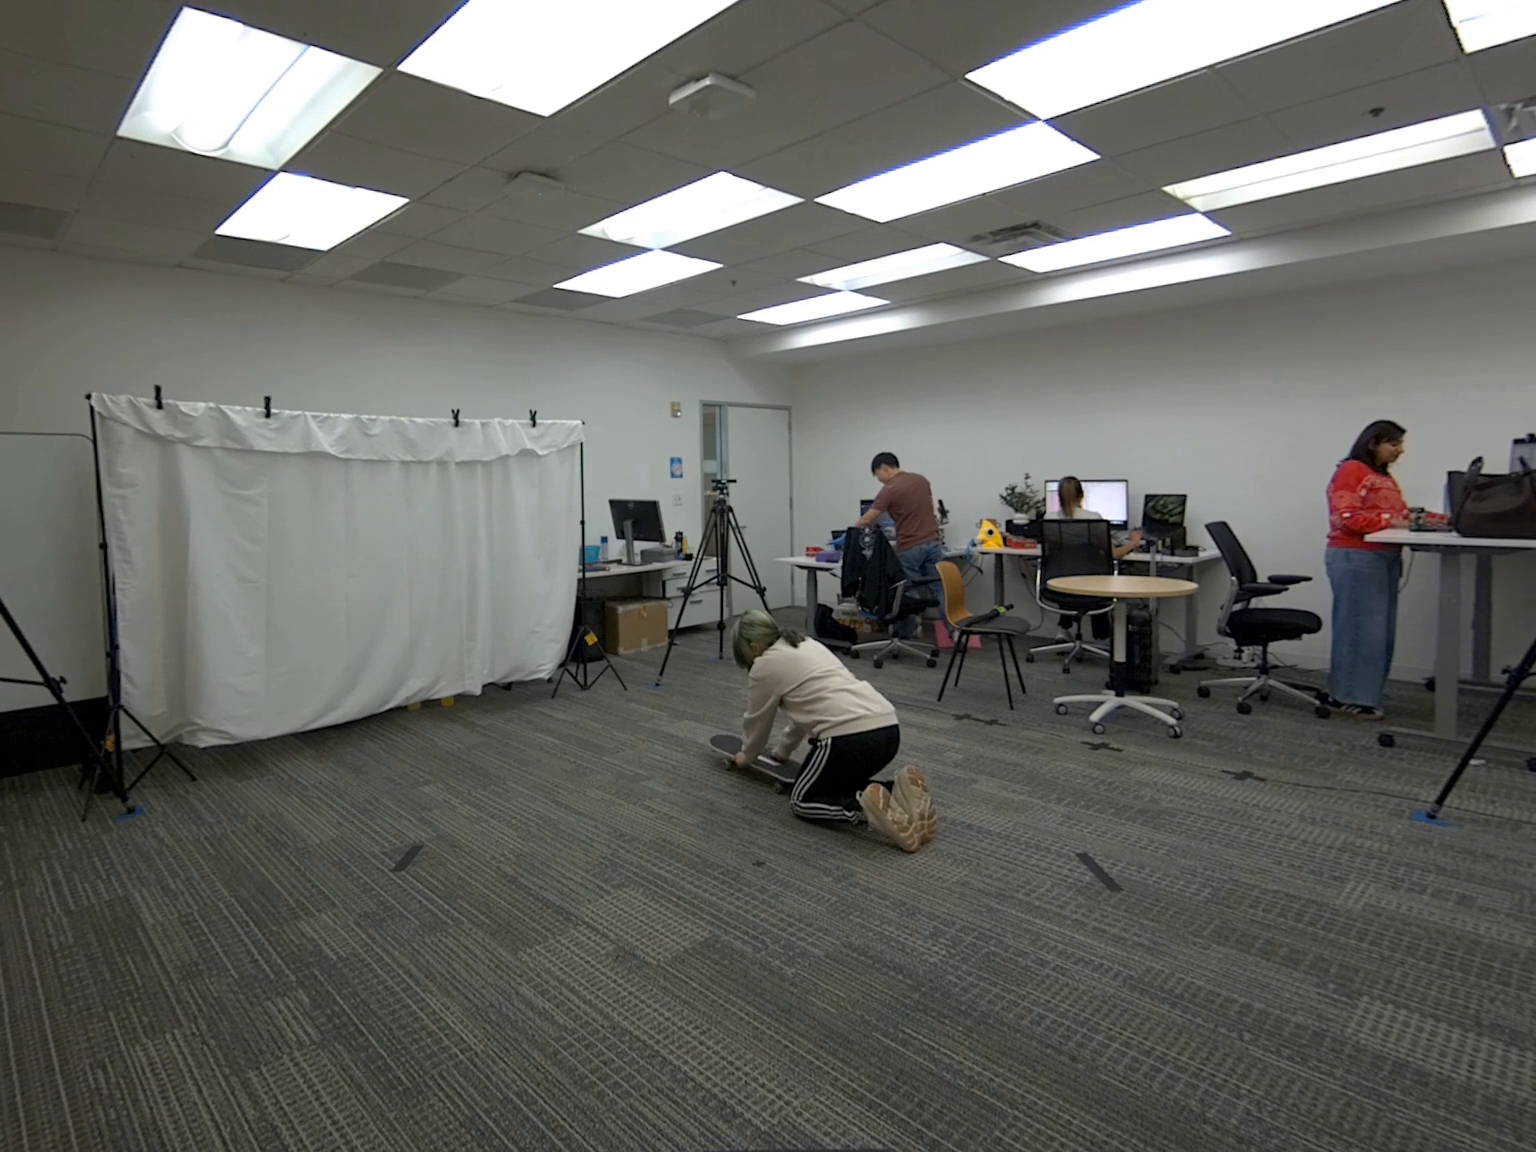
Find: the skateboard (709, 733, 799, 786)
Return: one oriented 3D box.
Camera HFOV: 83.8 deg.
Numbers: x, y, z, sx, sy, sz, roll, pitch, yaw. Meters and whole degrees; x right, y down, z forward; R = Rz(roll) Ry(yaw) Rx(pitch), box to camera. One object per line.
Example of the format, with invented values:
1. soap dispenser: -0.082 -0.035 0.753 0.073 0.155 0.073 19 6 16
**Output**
1. skateboard: -0.018 0.892 4.004 0.188 0.110 0.809 -3 7 -36
